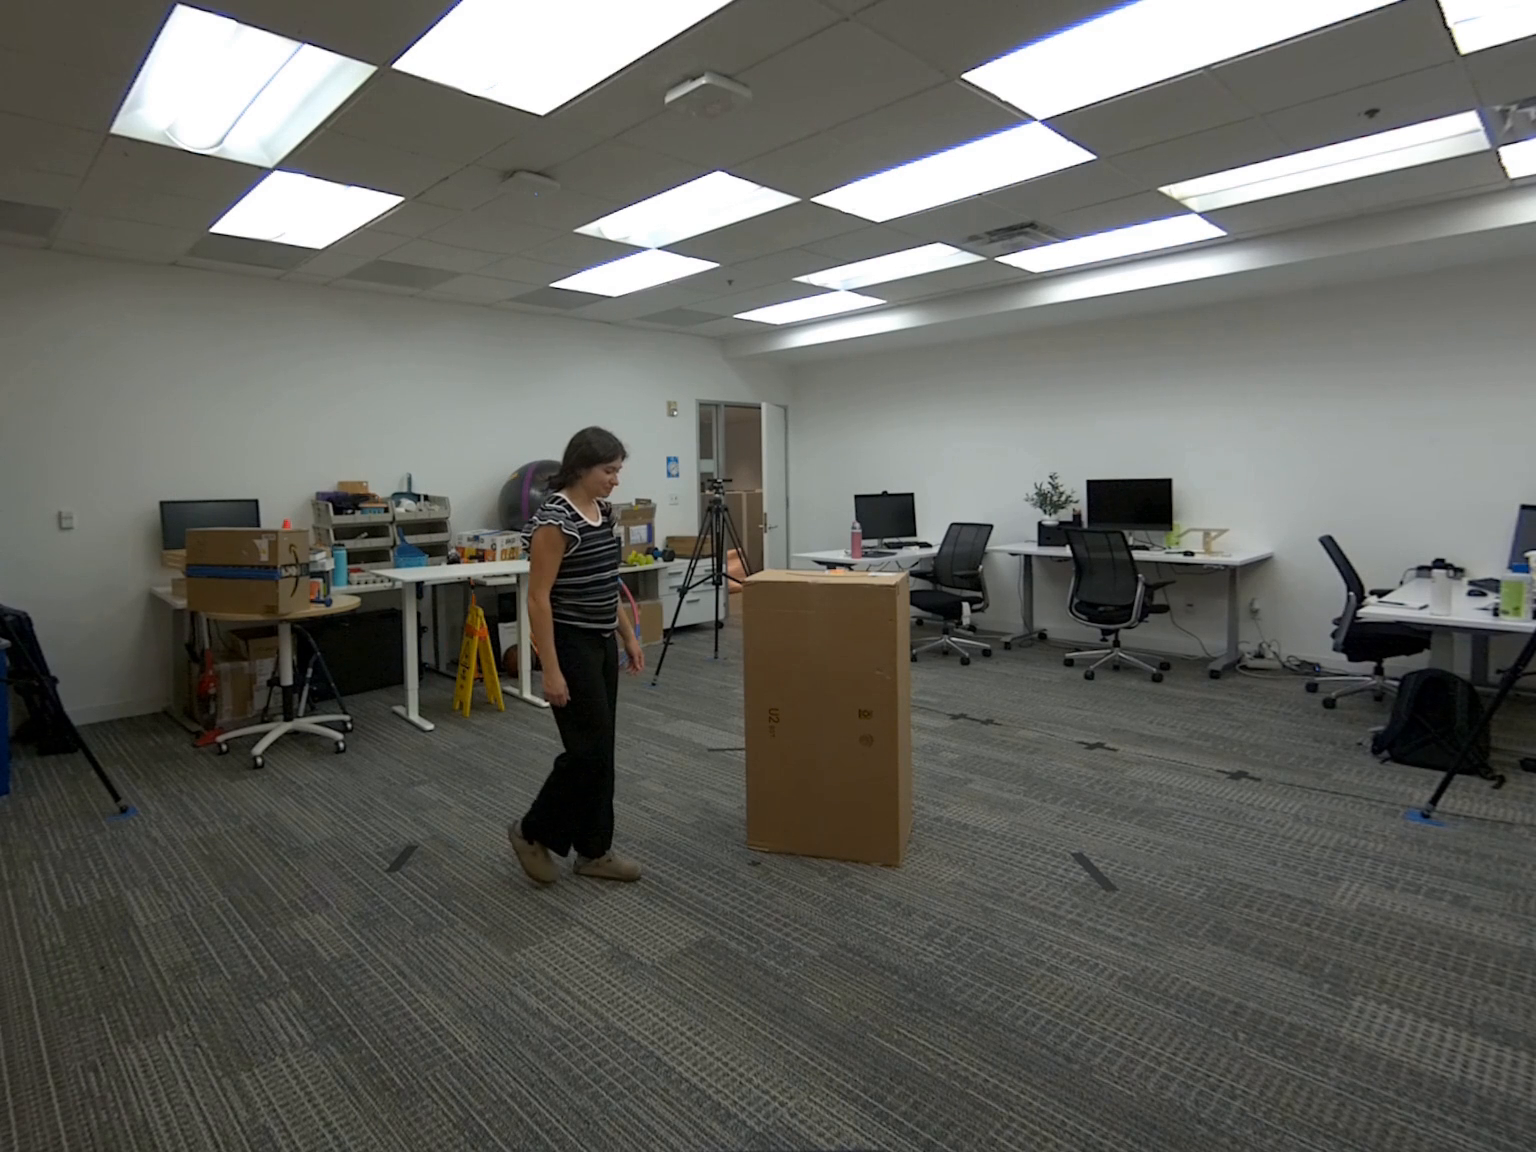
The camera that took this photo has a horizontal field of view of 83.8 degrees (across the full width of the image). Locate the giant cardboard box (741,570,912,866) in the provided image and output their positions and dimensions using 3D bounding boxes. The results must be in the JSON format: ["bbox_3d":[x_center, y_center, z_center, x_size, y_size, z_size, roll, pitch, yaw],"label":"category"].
[{"bbox_3d":[0.240,0.506,3.314,0.587,1.022,0.420,0,4,17],"label":"giant cardboard box"}]
